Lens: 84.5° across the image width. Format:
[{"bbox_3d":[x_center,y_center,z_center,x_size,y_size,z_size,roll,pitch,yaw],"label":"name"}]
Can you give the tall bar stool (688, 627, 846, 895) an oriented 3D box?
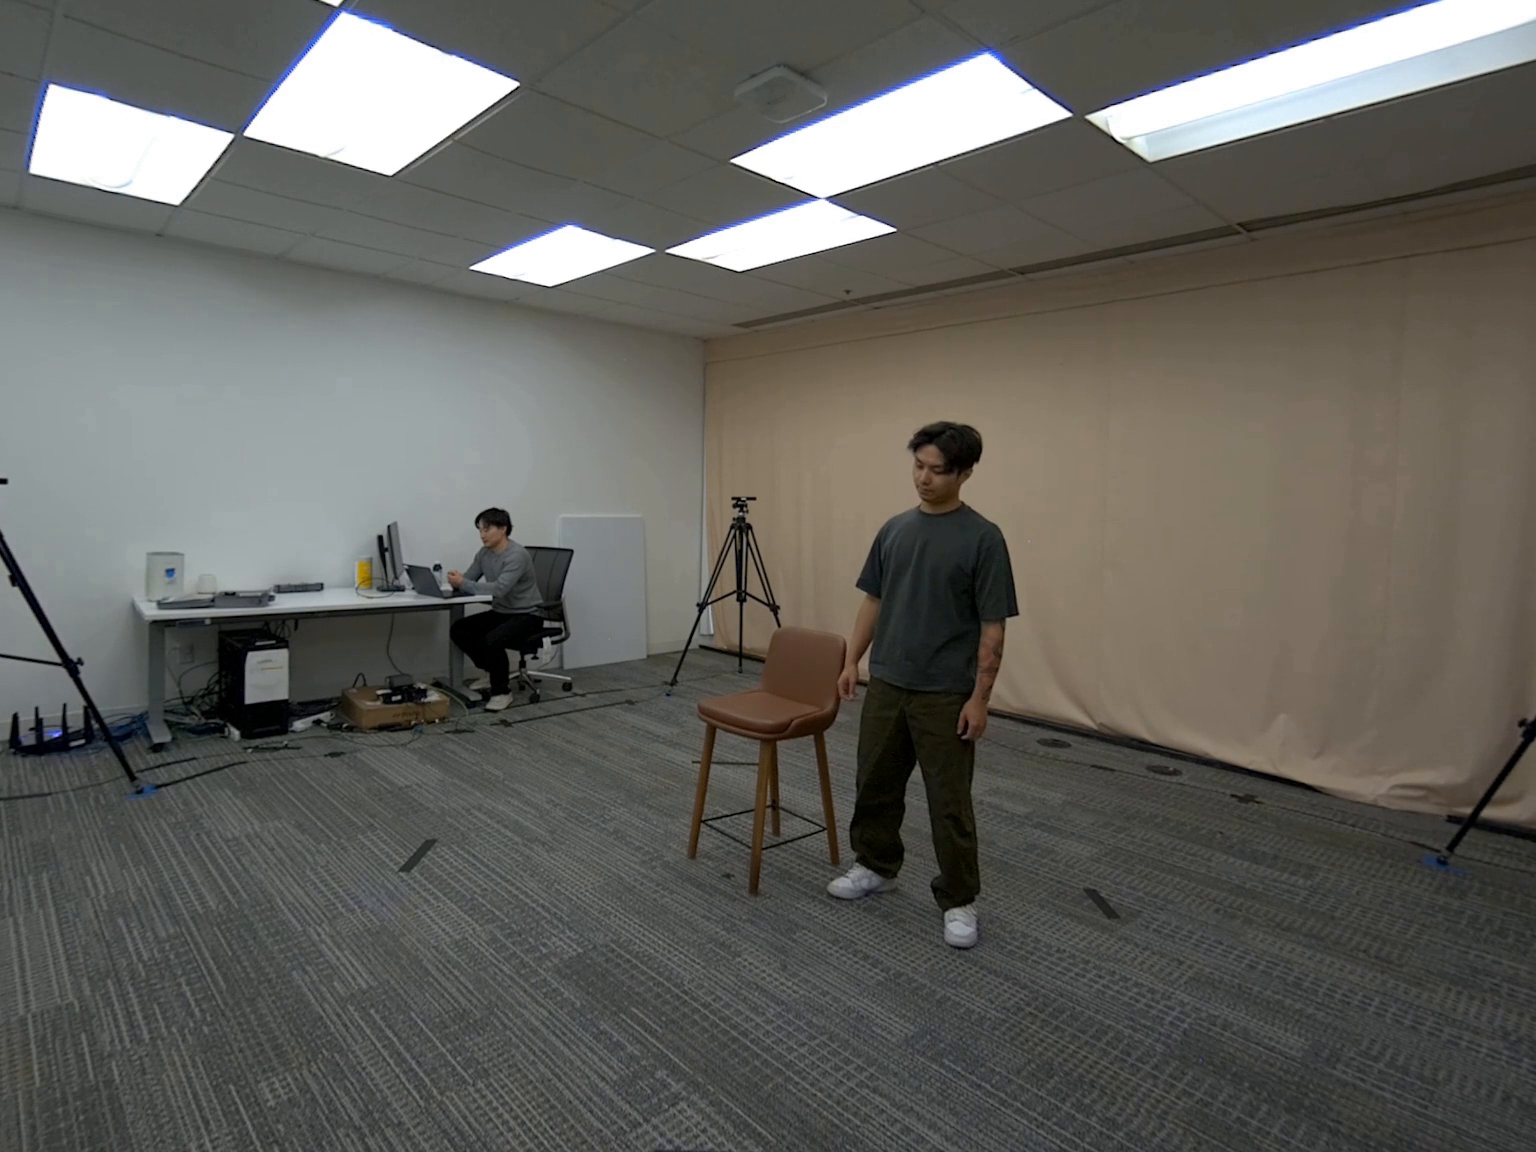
[{"bbox_3d":[-0.005,0.666,3.221,0.456,0.888,0.468,1,3,-39],"label":"tall bar stool"}]
